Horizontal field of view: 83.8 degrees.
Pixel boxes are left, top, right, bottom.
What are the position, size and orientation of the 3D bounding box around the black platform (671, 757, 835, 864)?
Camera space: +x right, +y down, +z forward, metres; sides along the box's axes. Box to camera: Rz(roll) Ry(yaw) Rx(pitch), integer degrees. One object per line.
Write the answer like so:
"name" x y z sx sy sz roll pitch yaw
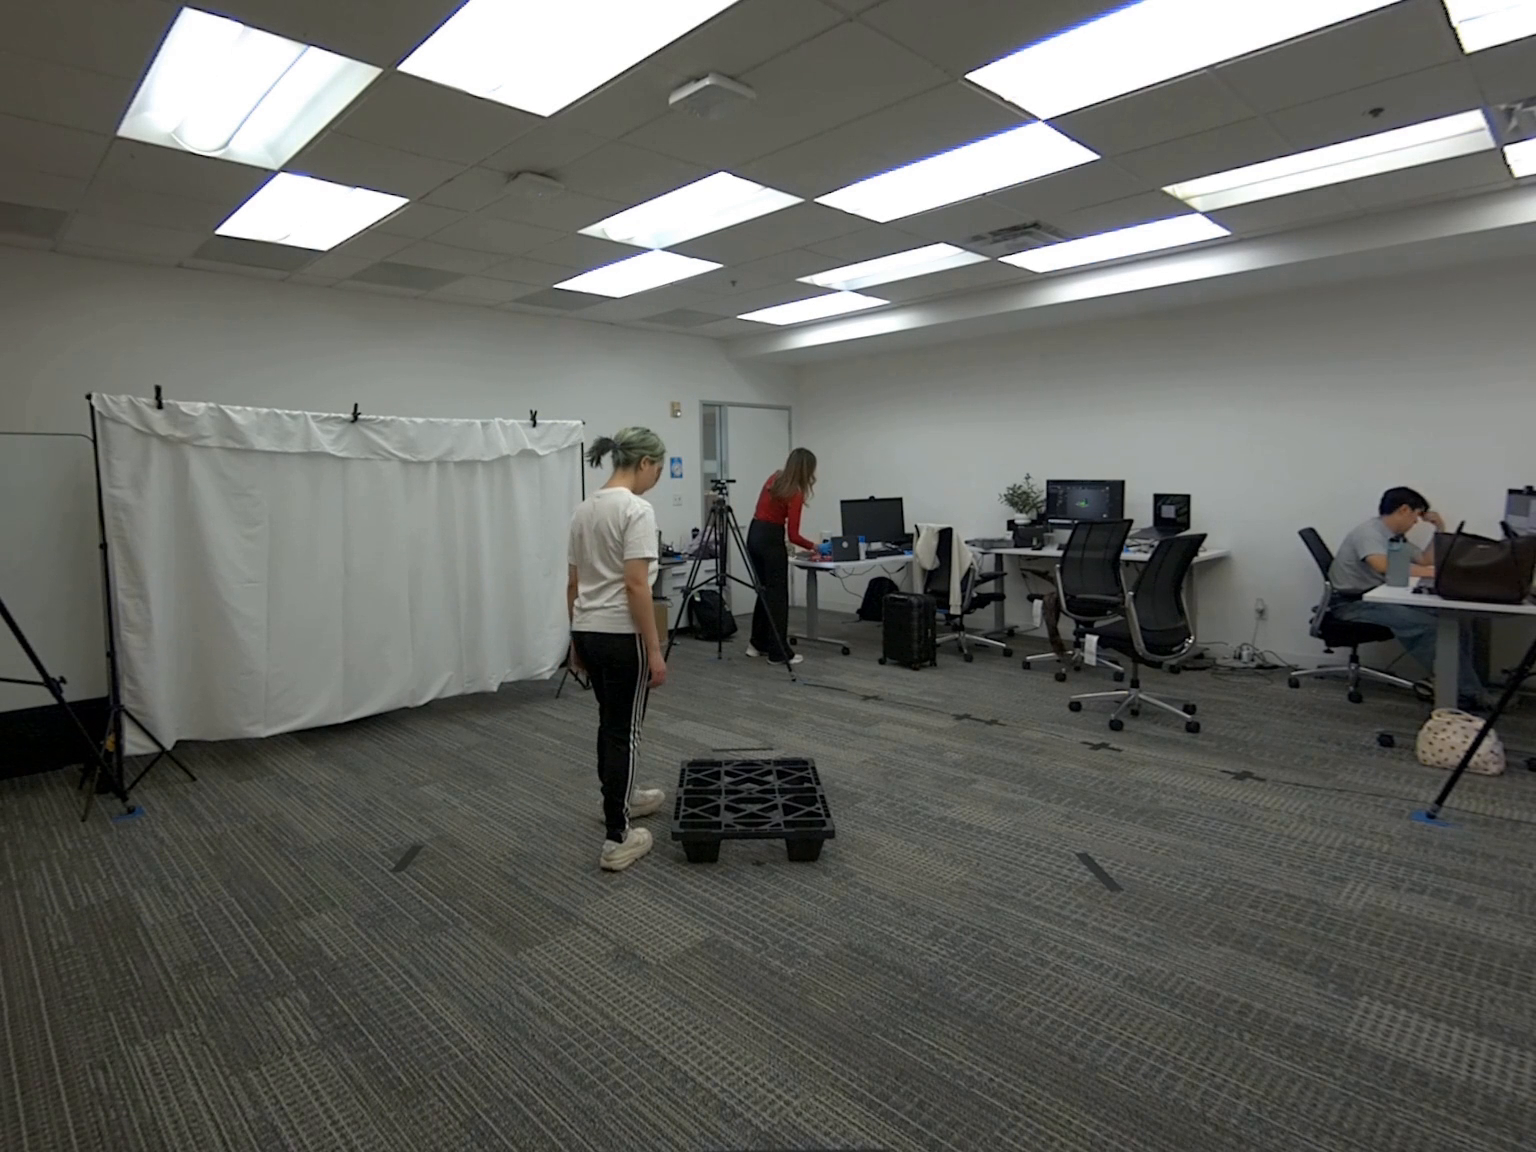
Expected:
"black platform" -0.073 0.936 3.481 0.605 0.143 0.810 -2 6 -2
